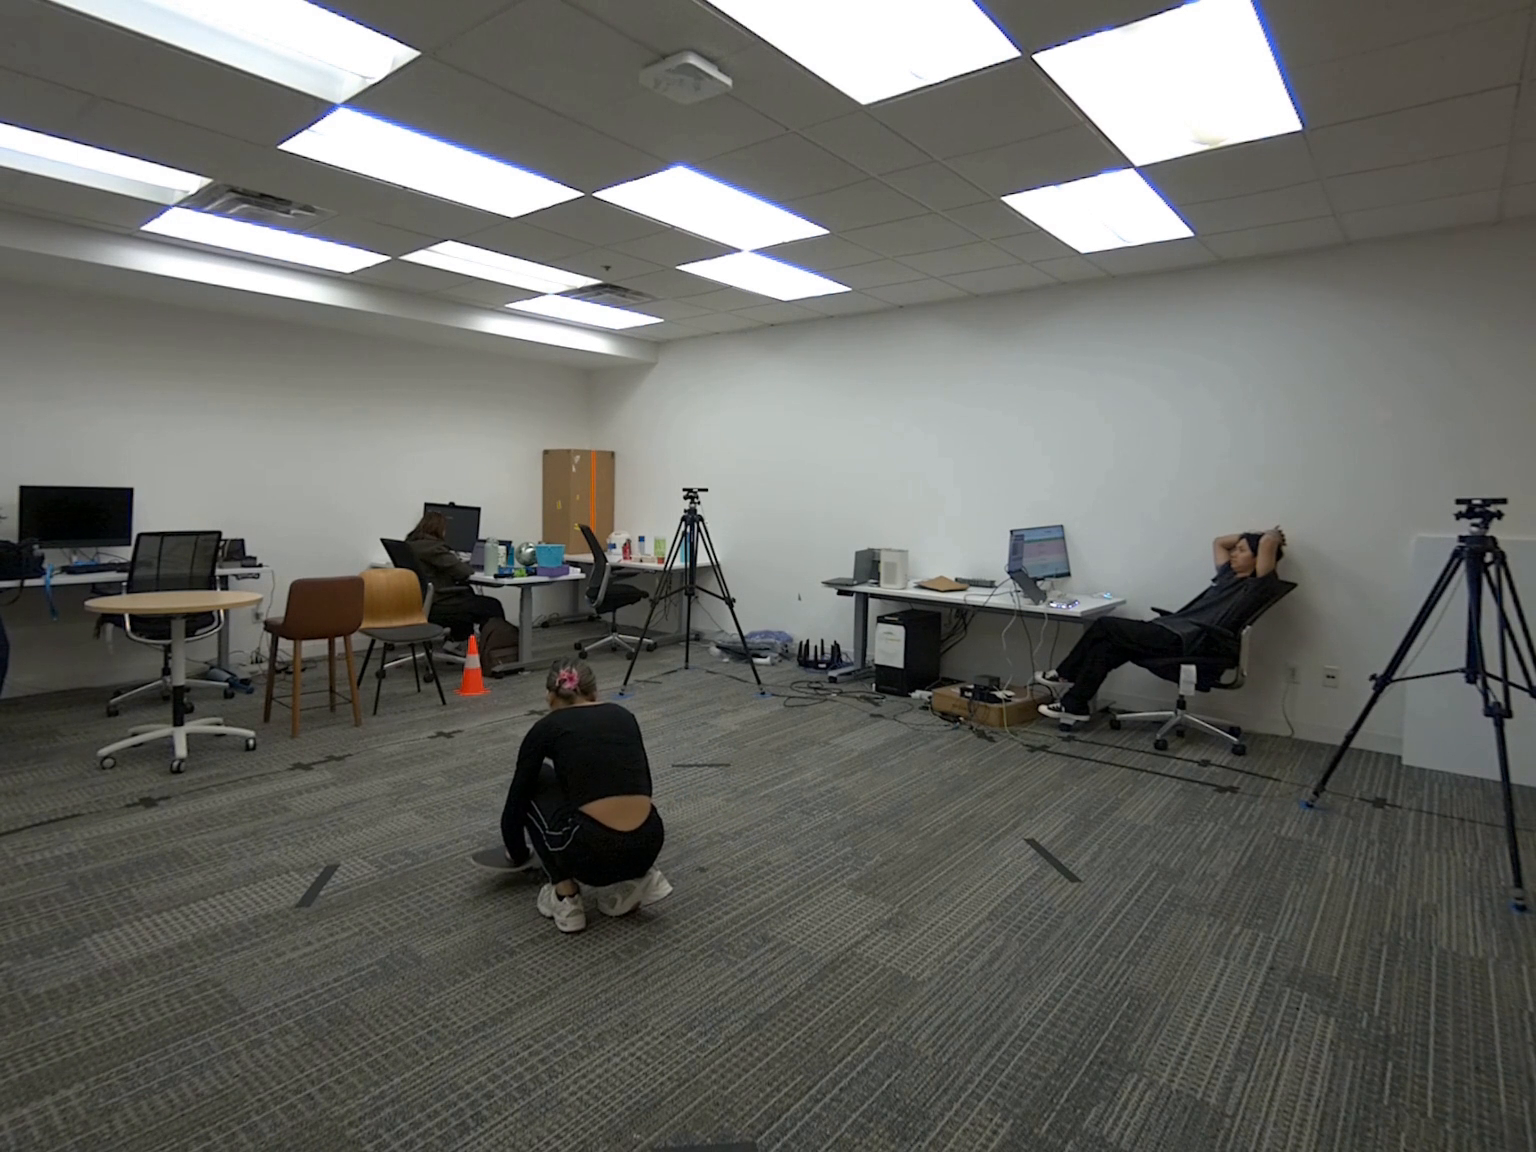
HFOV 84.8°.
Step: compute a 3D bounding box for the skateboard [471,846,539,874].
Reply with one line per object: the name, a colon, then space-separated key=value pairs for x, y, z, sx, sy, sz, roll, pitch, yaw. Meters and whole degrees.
skateboard: x=-0.740 y=0.993 z=3.167 sx=0.200 sy=0.110 sz=0.762 roll=4 pitch=7 yaw=45
